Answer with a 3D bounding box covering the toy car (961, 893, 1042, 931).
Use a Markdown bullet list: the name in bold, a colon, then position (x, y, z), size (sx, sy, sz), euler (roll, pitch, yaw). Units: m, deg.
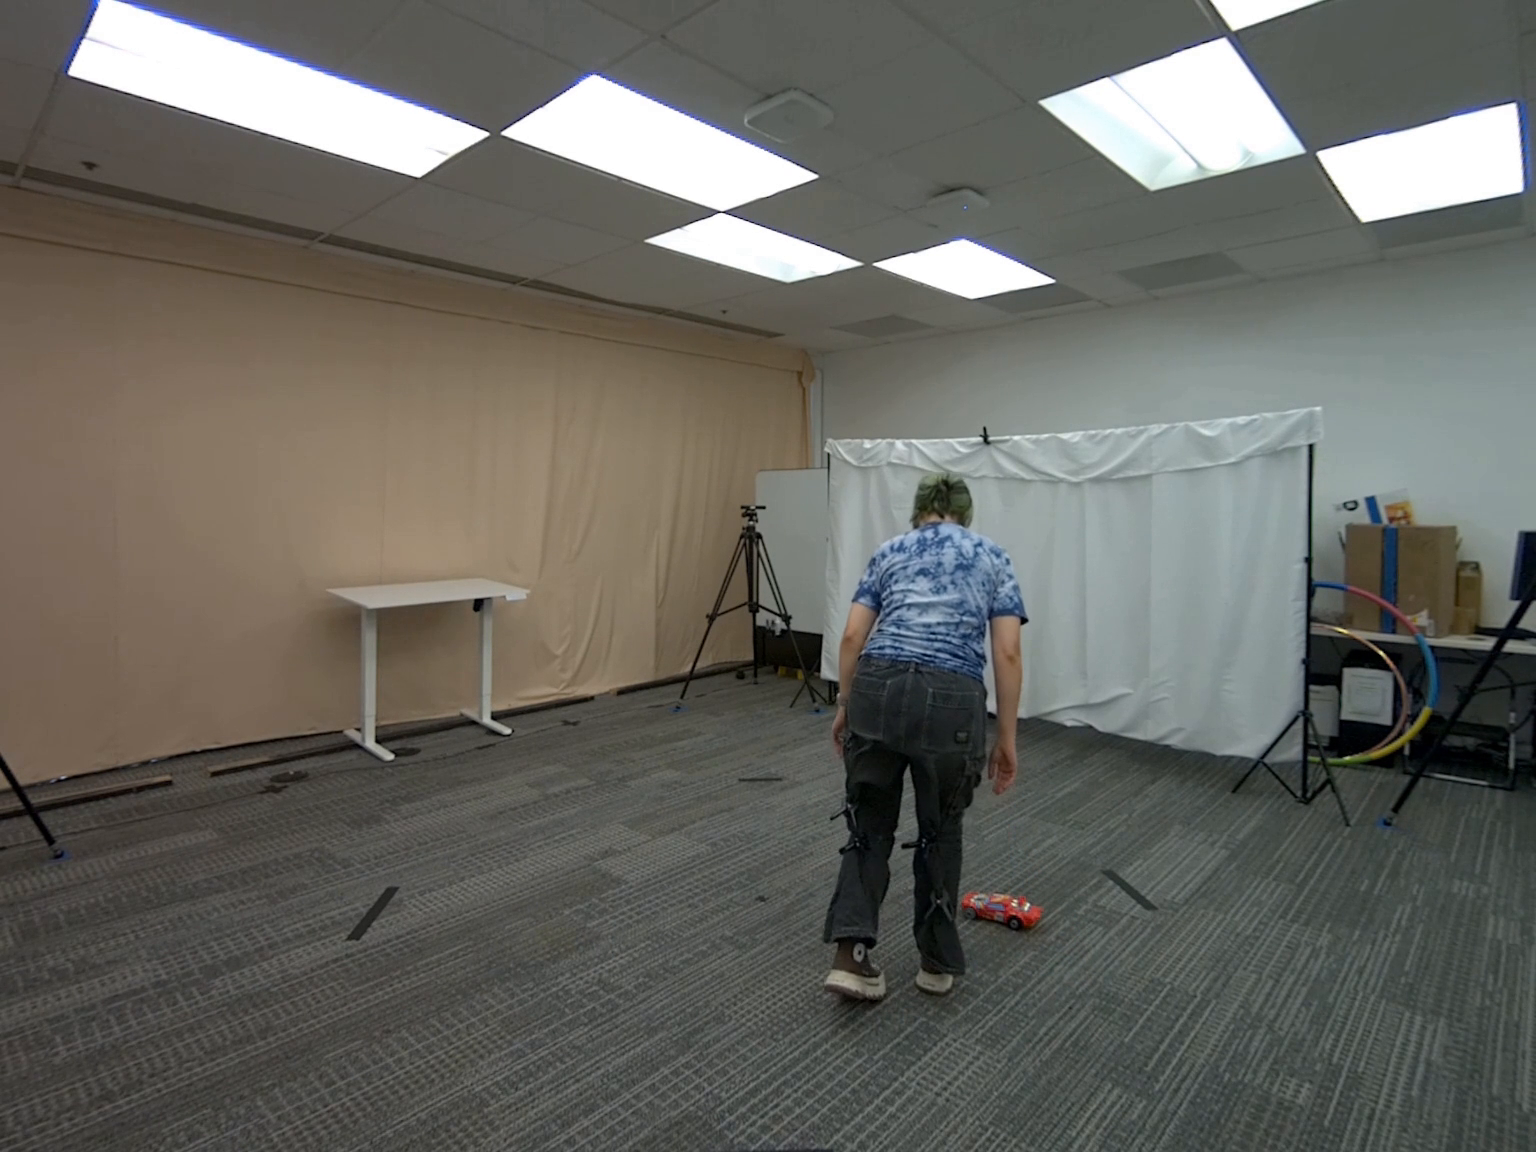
- **toy car**: position (0.798, 1.125, 2.824), size (0.261, 0.083, 0.127), euler (-8, 0, 30)
